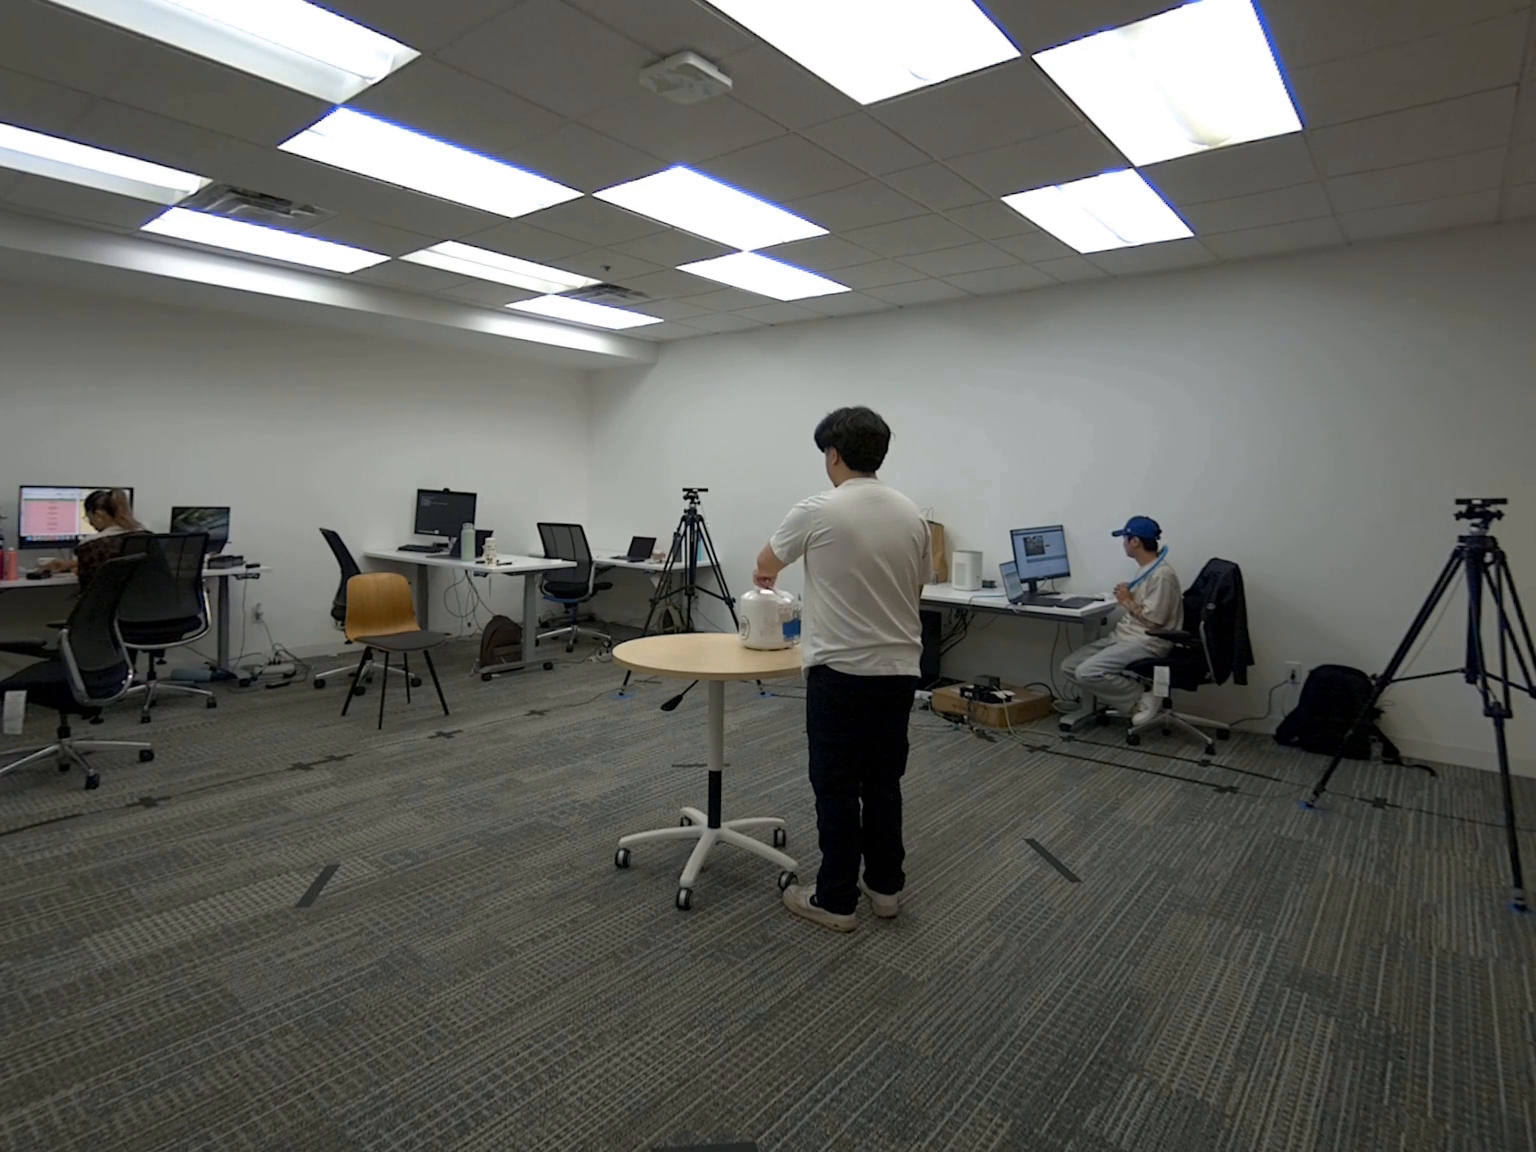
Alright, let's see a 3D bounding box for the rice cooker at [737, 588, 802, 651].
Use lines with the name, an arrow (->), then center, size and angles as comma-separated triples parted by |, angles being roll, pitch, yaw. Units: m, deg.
rice cooker -> -0.015, 0.148, 3.213 | 0.211, 0.232, 0.228 | -1, 4, -35
